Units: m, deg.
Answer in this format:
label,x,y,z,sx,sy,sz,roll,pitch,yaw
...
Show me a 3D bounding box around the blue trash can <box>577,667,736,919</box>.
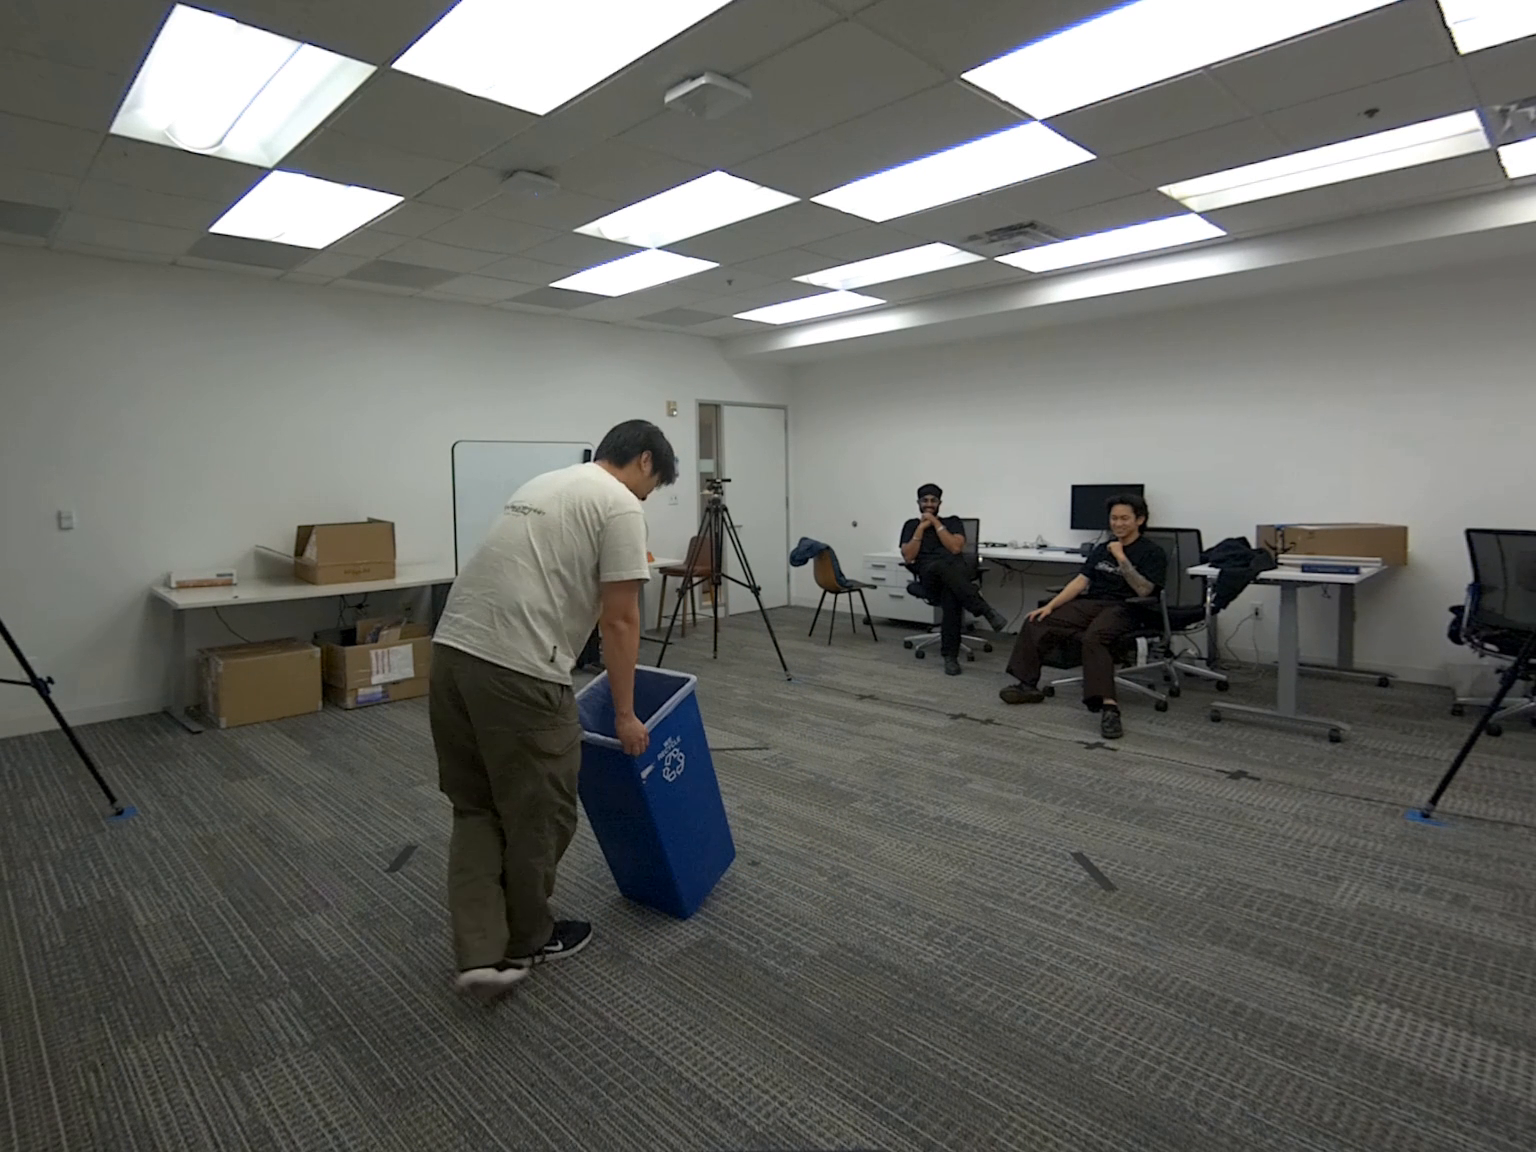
label,x,y,z,sx,sy,sz,roll,pitch,yaw
blue trash can,-0.376,0.699,2.783,0.389,0.697,0.372,3,28,36
